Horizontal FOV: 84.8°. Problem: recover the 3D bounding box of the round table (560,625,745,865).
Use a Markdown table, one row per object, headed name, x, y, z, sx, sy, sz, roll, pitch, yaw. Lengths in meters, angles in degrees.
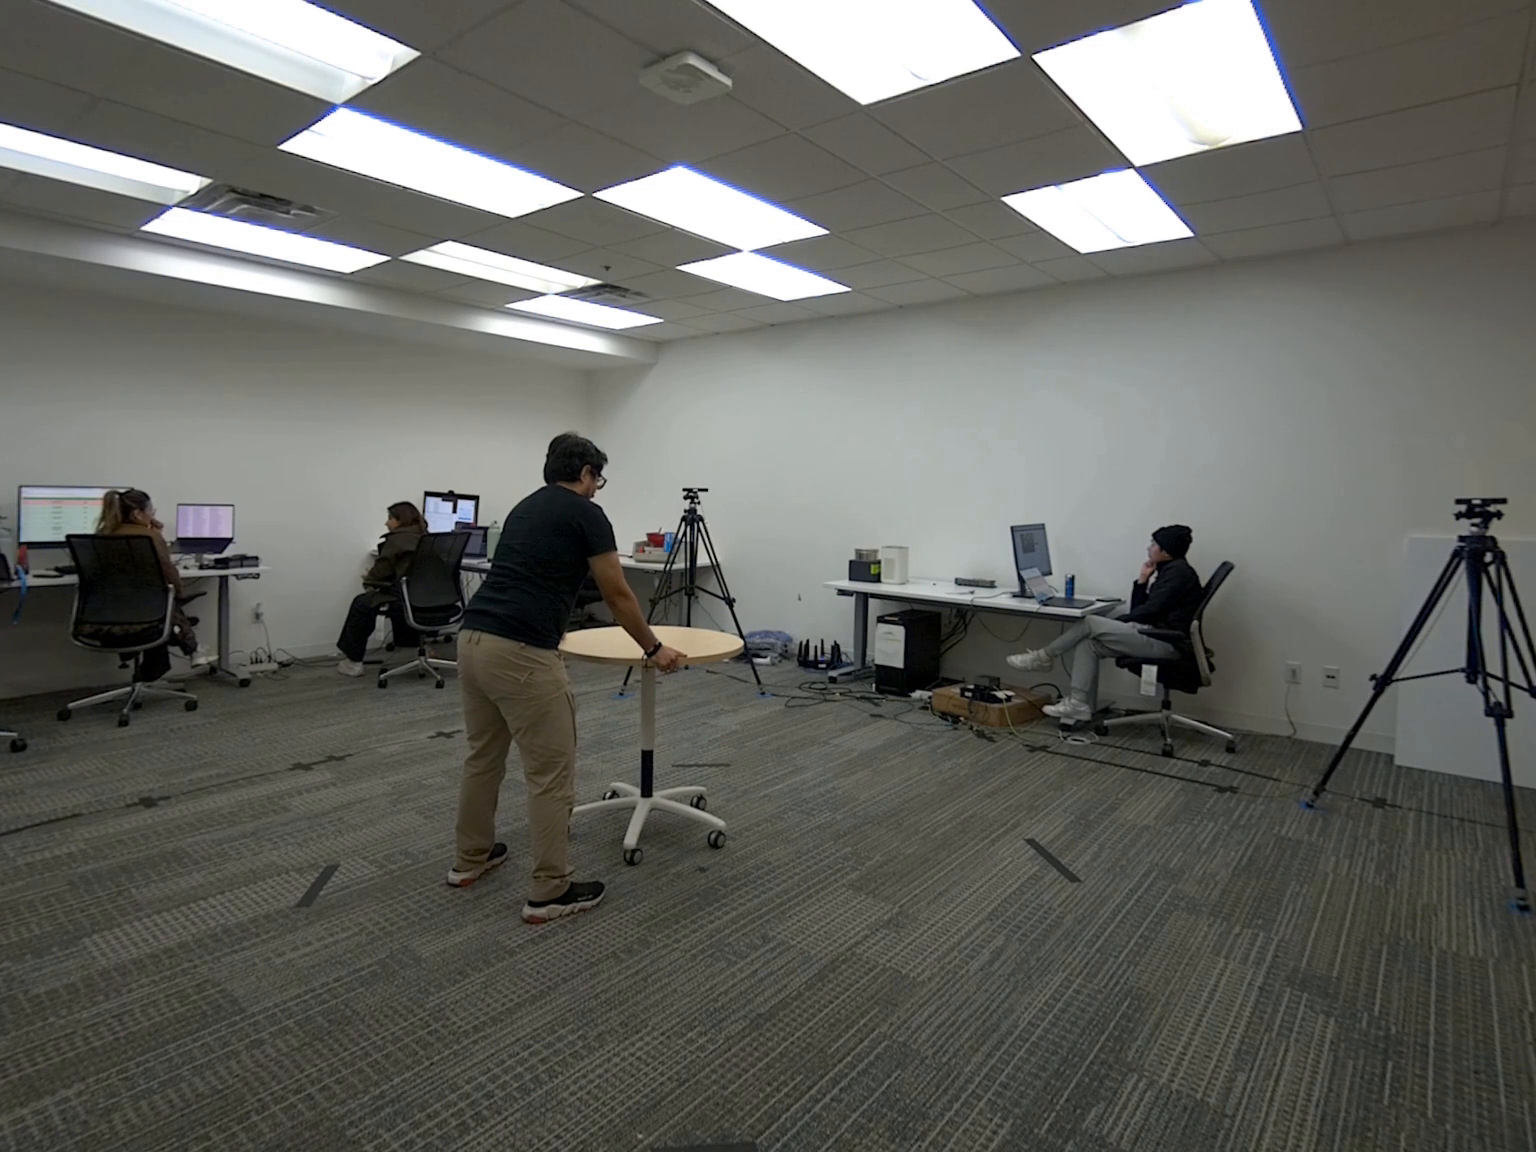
| name | x | y | z | sx | sy | sz | roll | pitch | yaw |
| --- | --- | --- | --- | --- | --- | --- | --- | --- | --- |
| round table | -0.499 | 0.644 | 3.426 | 0.784 | 0.784 | 0.789 | 1 | 4 | -2 |
